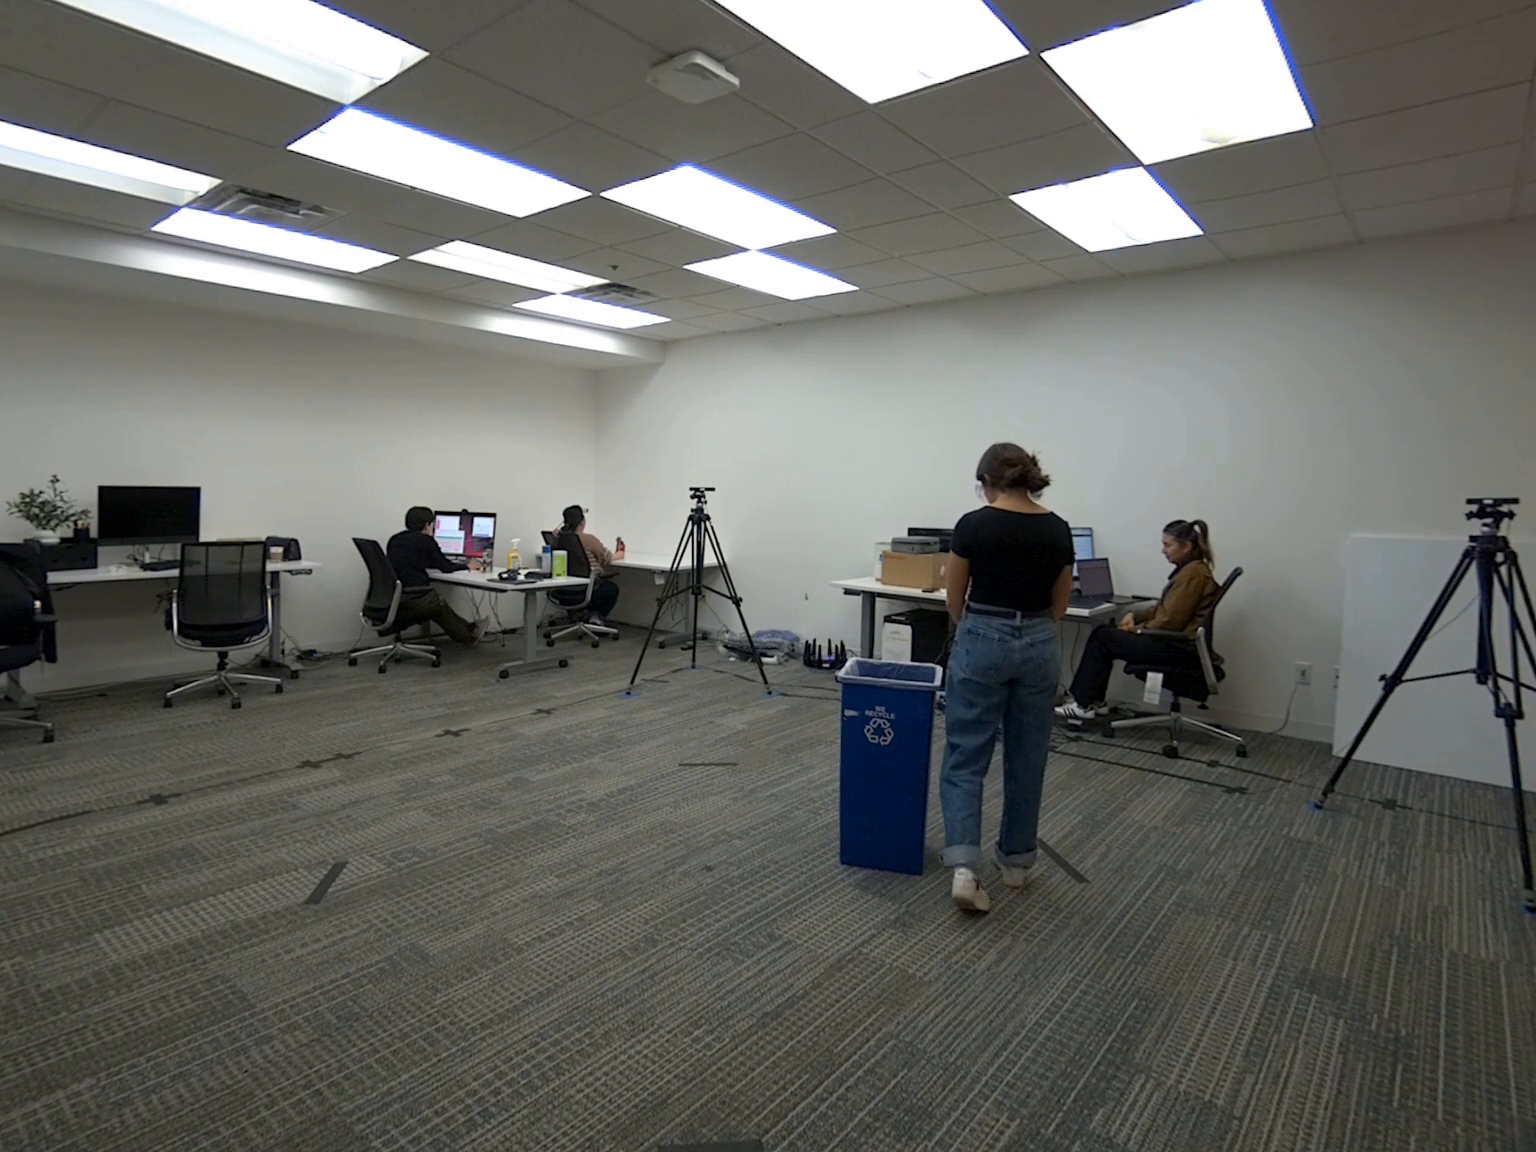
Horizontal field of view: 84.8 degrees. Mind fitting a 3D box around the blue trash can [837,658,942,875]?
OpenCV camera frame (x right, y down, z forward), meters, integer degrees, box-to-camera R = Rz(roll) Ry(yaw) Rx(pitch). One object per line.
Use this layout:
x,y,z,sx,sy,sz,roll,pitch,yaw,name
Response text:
0.455,0.709,3.254,0.380,0.711,0.373,2,4,15,blue trash can
